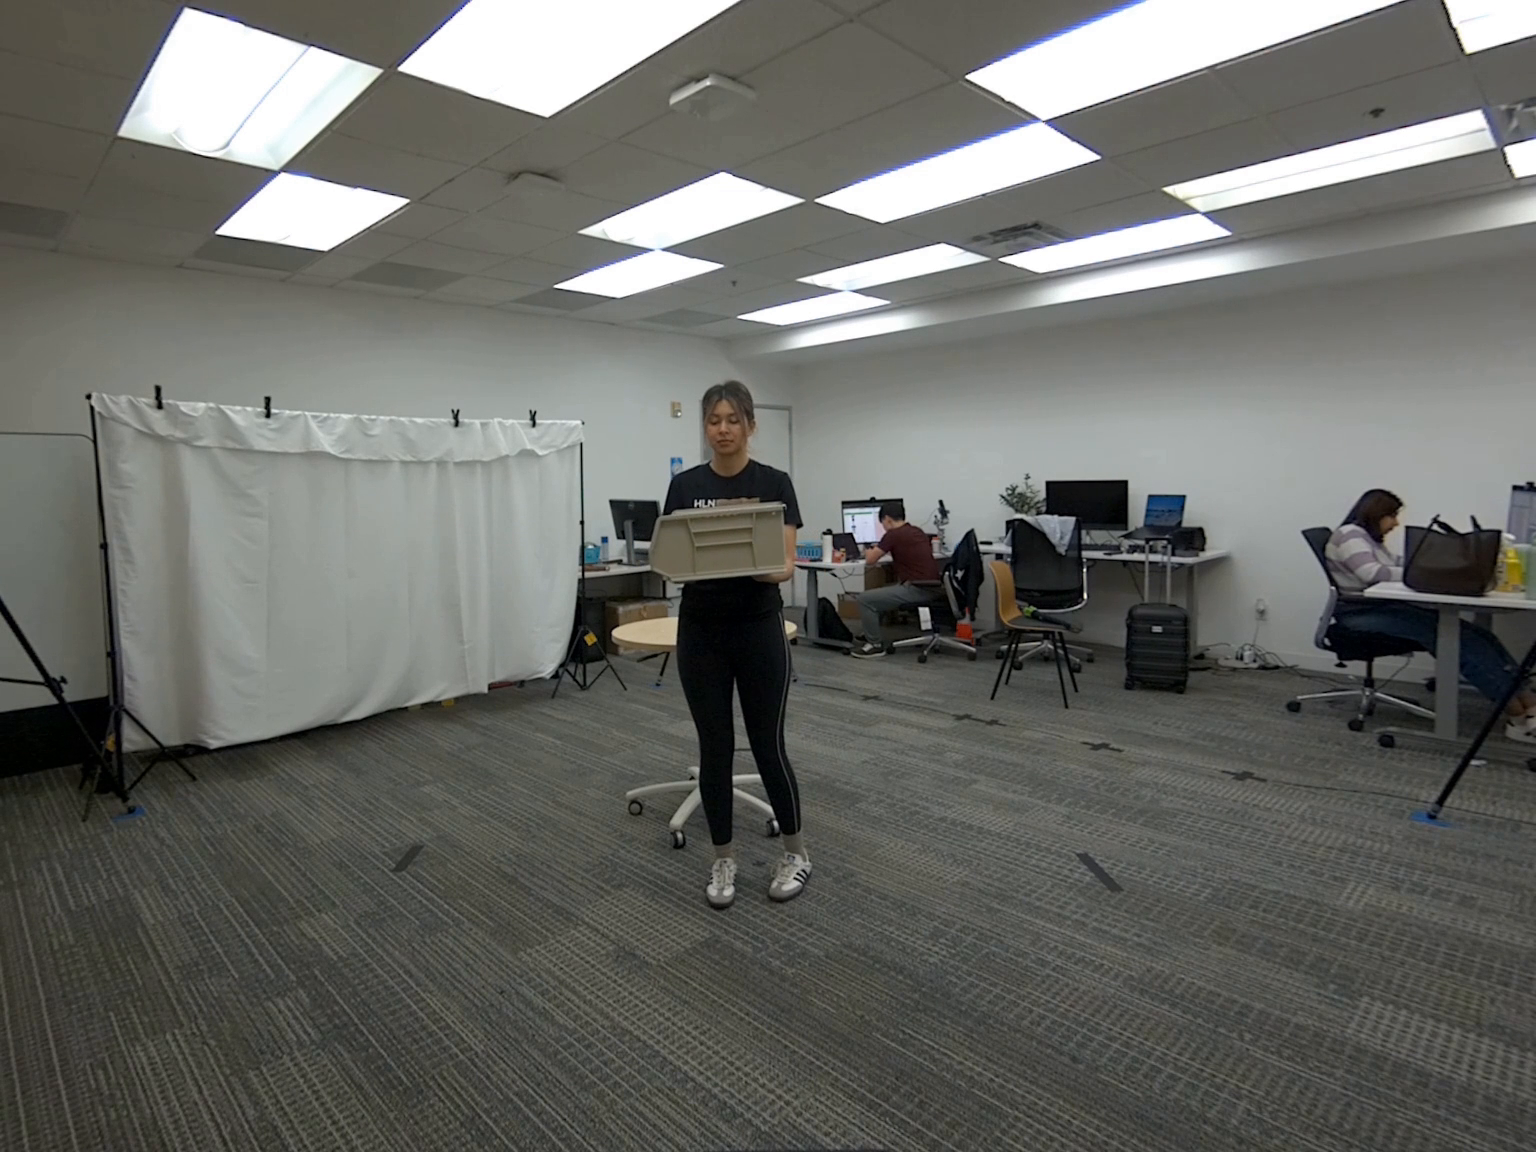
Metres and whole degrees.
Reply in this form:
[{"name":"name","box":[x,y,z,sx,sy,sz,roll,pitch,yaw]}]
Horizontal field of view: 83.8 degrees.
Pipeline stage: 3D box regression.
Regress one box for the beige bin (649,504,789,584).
[{"name":"beige bin","box":[-0.139,-0.101,2.487,0.378,0.188,0.423,-6,6,1]}]
